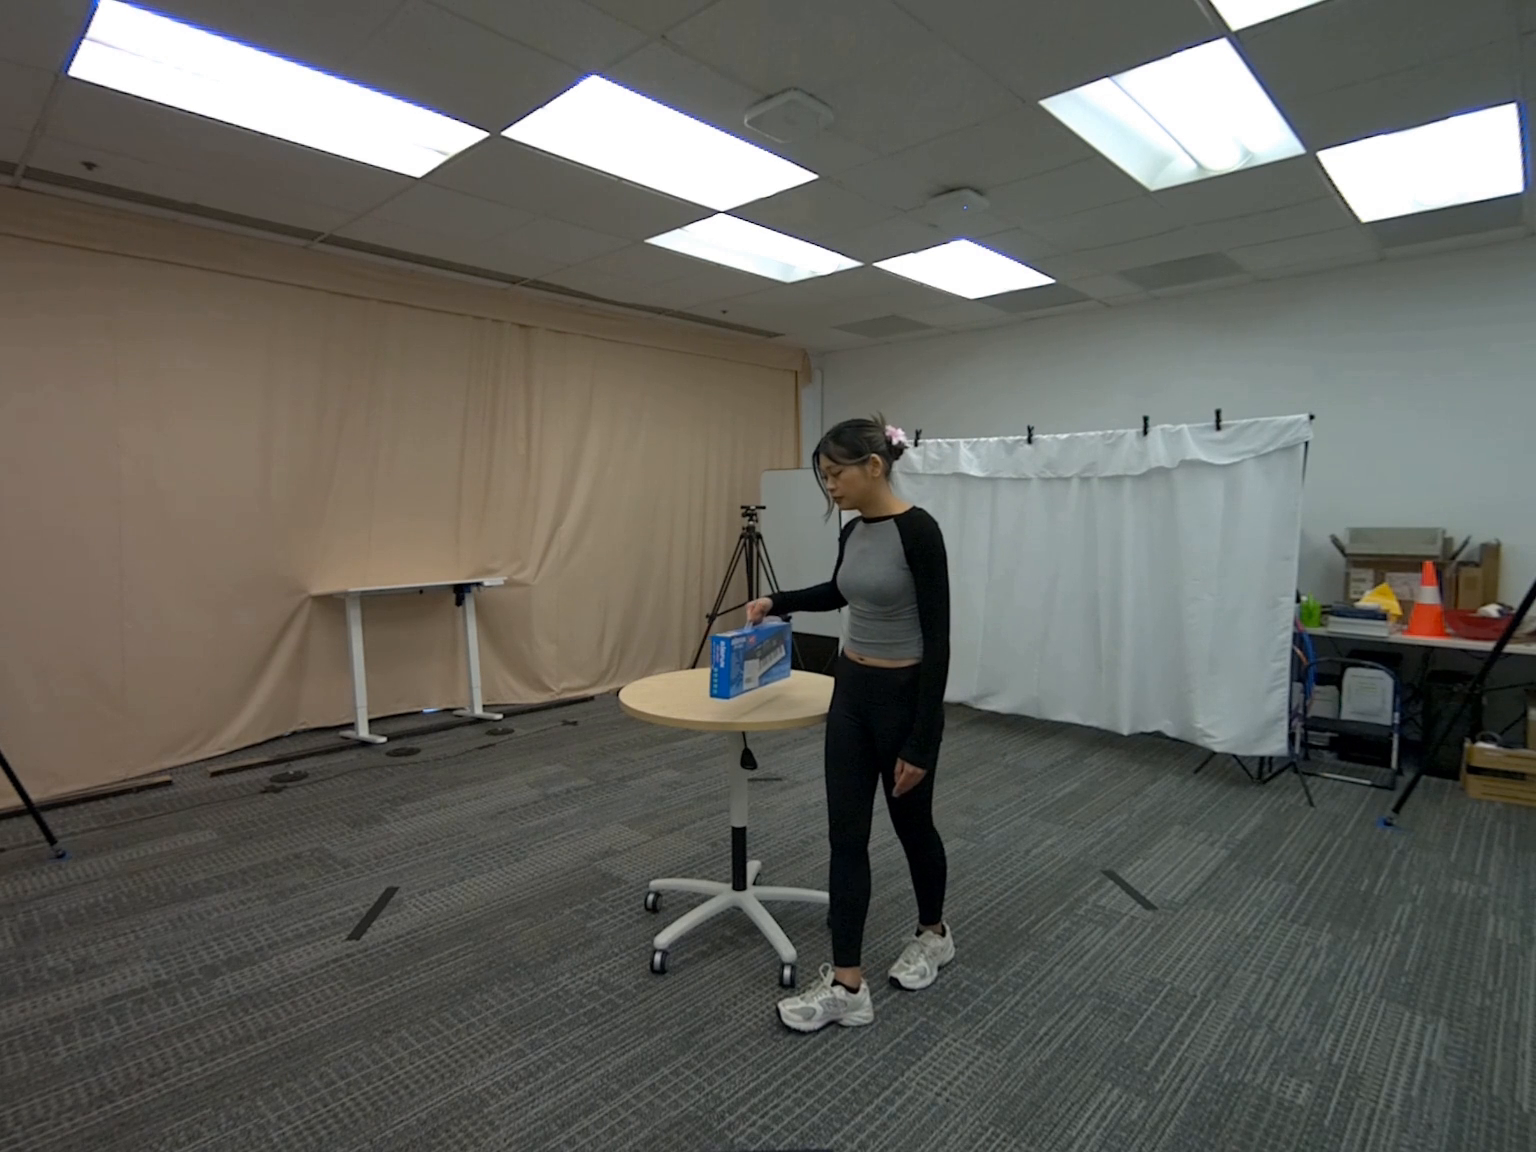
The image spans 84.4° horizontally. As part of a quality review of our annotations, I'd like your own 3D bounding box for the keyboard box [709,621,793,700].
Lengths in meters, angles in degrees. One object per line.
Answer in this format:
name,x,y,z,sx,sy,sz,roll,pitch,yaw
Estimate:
keyboard box,-0.037,0.242,2.480,0.060,0.176,0.426,1,2,25
